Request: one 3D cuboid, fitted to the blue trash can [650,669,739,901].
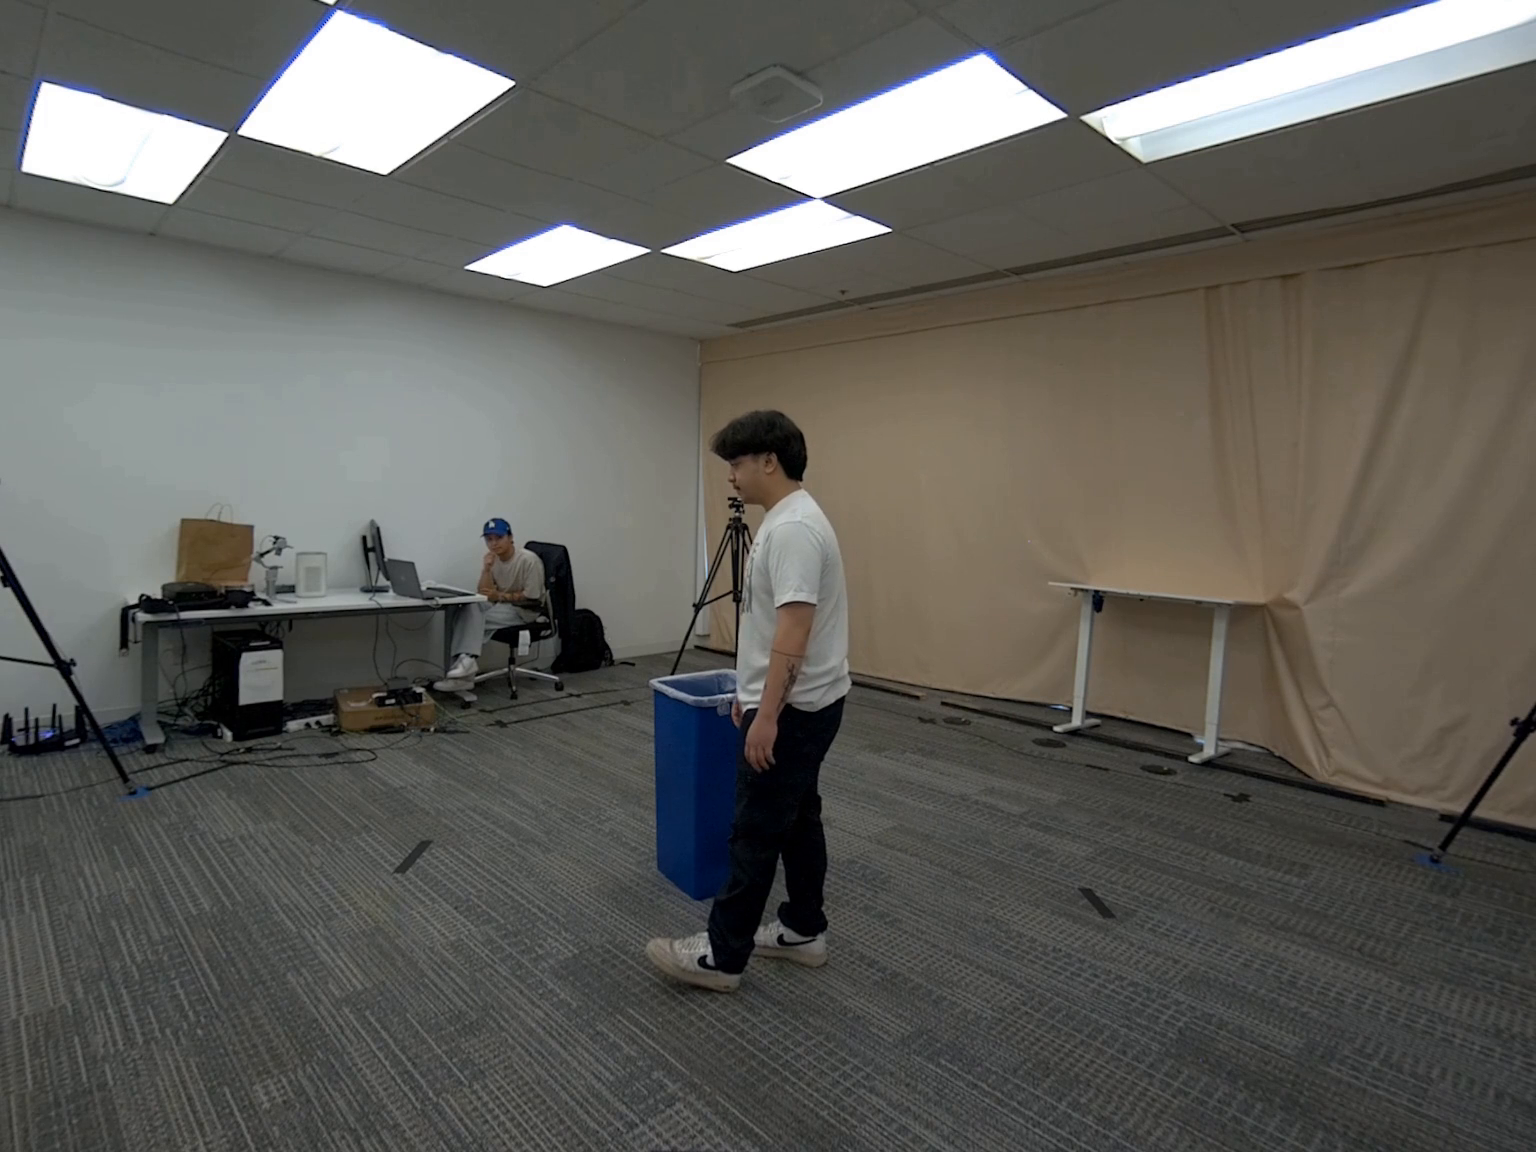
[{"bbox_3d":[-0.215,0.747,3.093,0.370,0.712,0.383,-1,4,-34],"label":"blue trash can"}]
